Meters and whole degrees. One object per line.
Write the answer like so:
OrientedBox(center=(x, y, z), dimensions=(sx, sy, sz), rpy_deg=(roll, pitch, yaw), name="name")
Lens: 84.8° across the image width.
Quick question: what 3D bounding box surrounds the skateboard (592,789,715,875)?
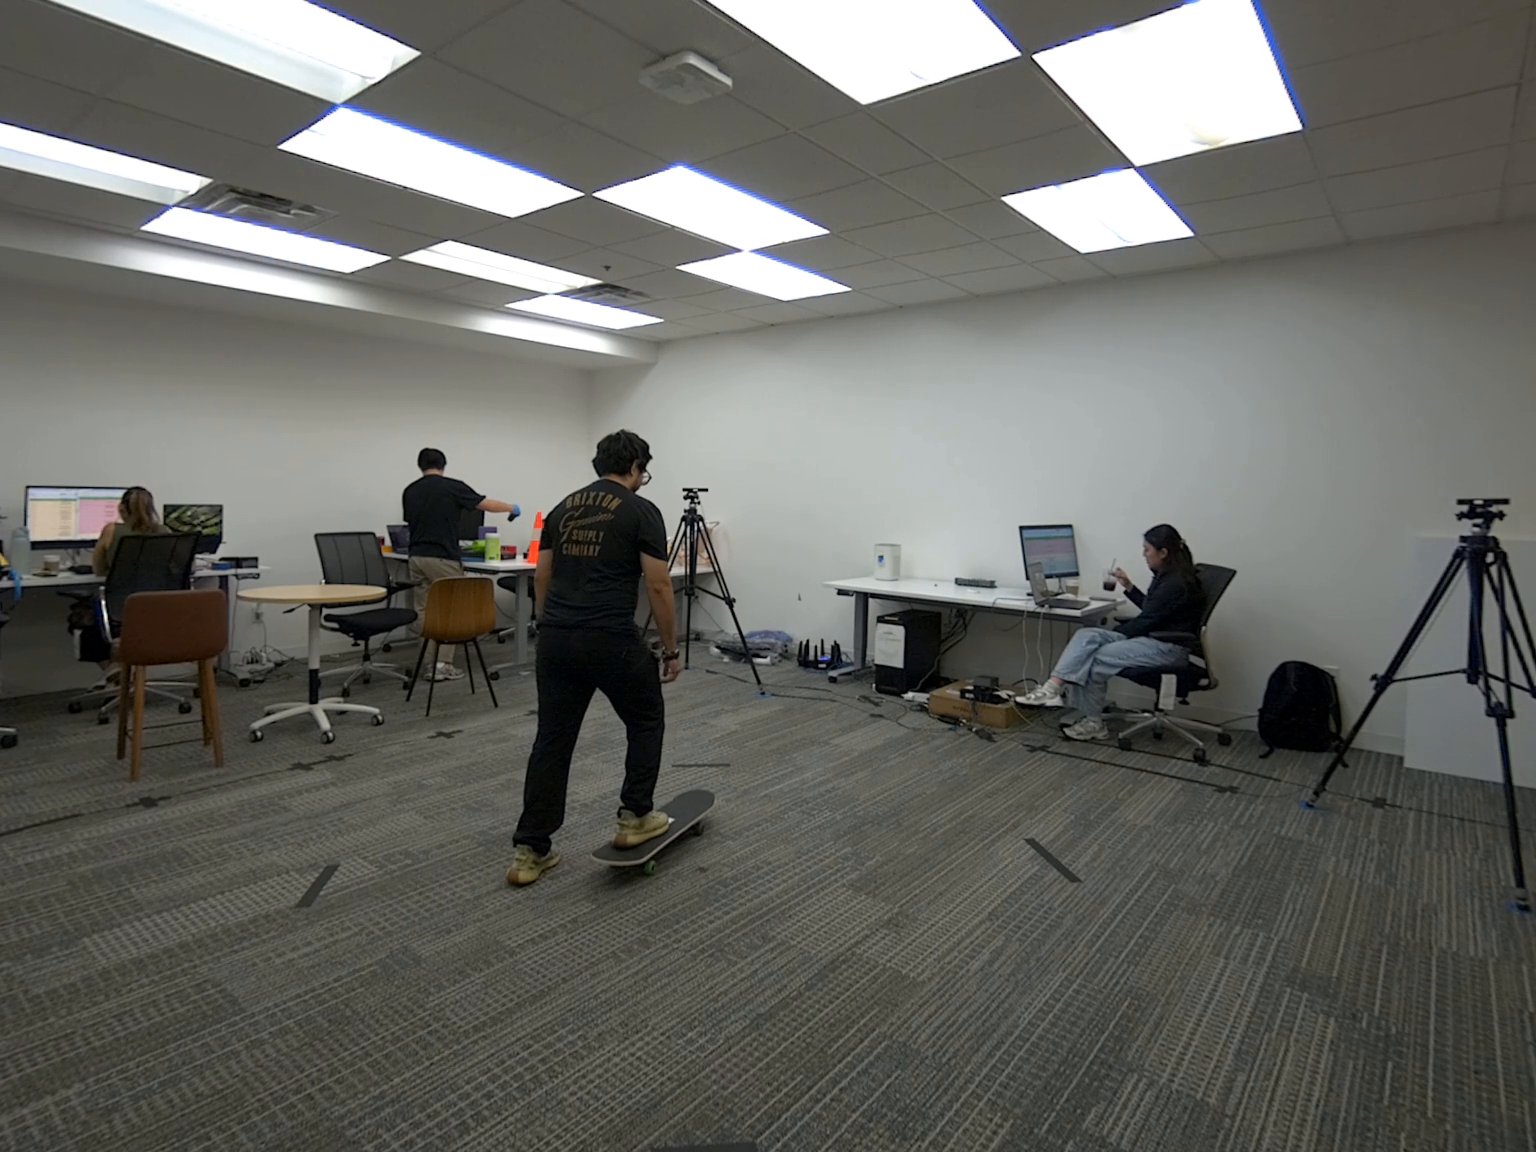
OrientedBox(center=(-0.435, 0.998, 3.276), dimensions=(0.198, 0.110, 0.769), rpy_deg=(1, 5, 22), name="skateboard")
